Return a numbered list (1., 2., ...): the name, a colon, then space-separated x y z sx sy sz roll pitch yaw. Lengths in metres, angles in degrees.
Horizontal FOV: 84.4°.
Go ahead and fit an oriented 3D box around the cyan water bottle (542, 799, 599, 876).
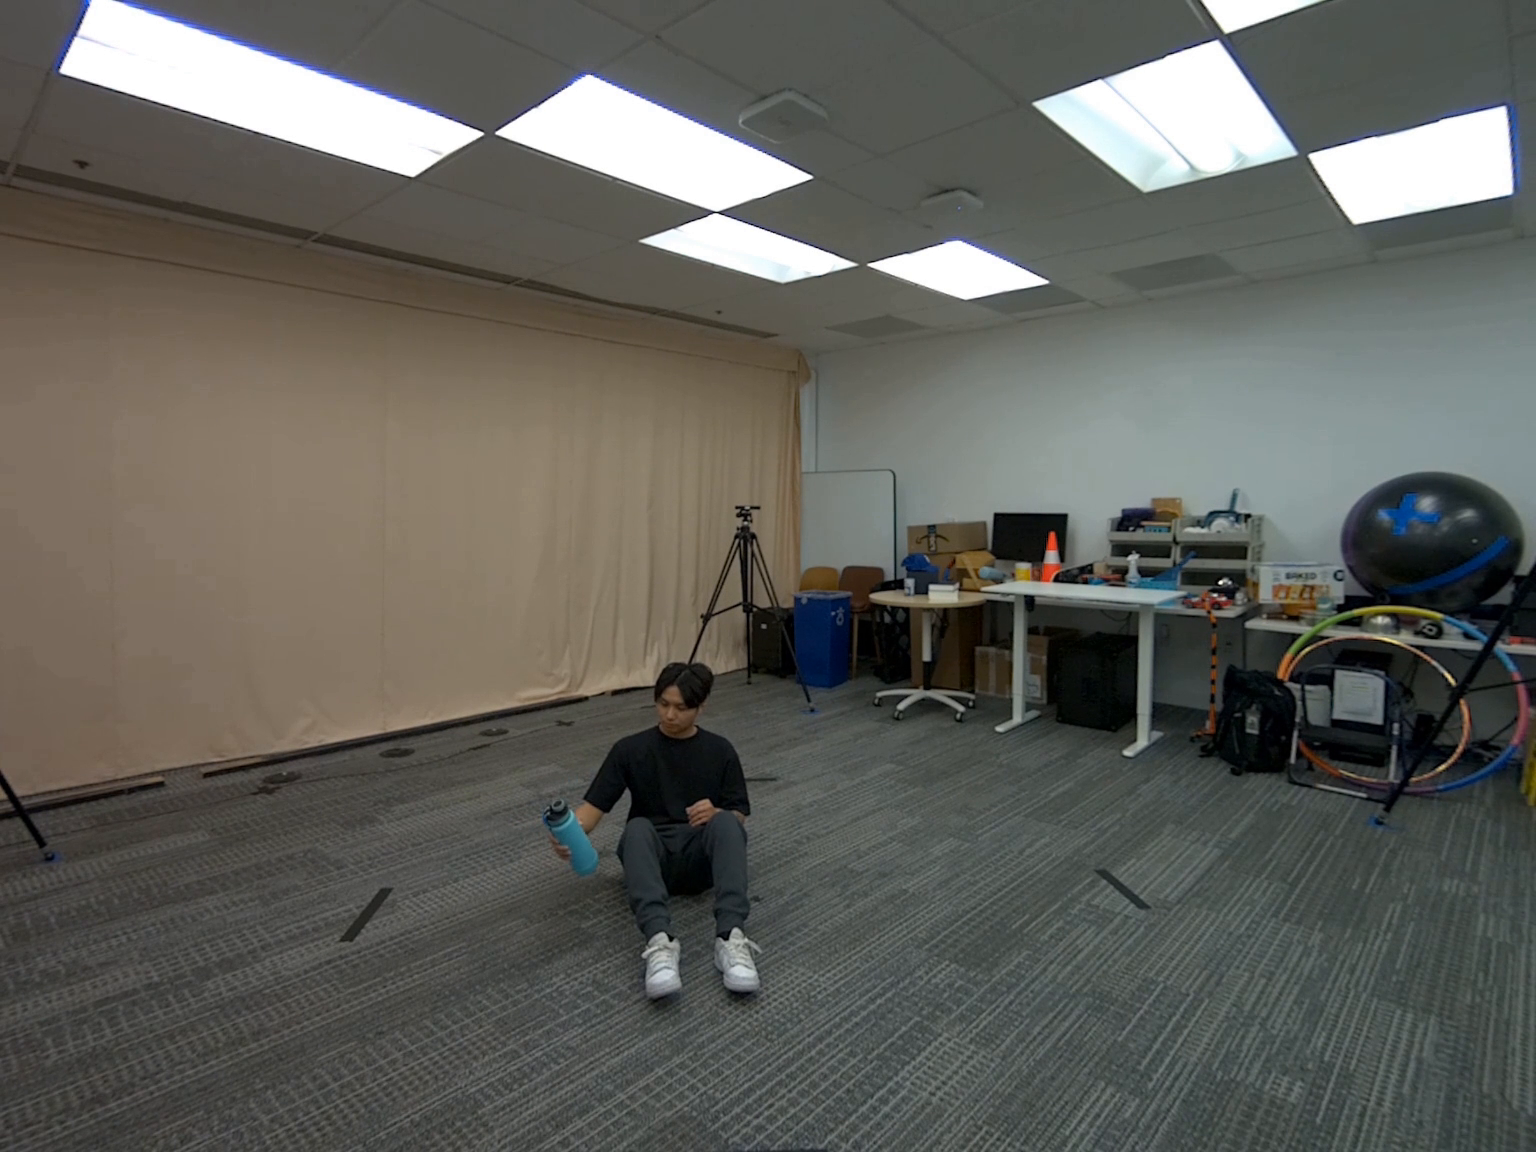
1. cyan water bottle: -0.647 0.845 2.738 0.093 0.277 0.094 -17 25 6
